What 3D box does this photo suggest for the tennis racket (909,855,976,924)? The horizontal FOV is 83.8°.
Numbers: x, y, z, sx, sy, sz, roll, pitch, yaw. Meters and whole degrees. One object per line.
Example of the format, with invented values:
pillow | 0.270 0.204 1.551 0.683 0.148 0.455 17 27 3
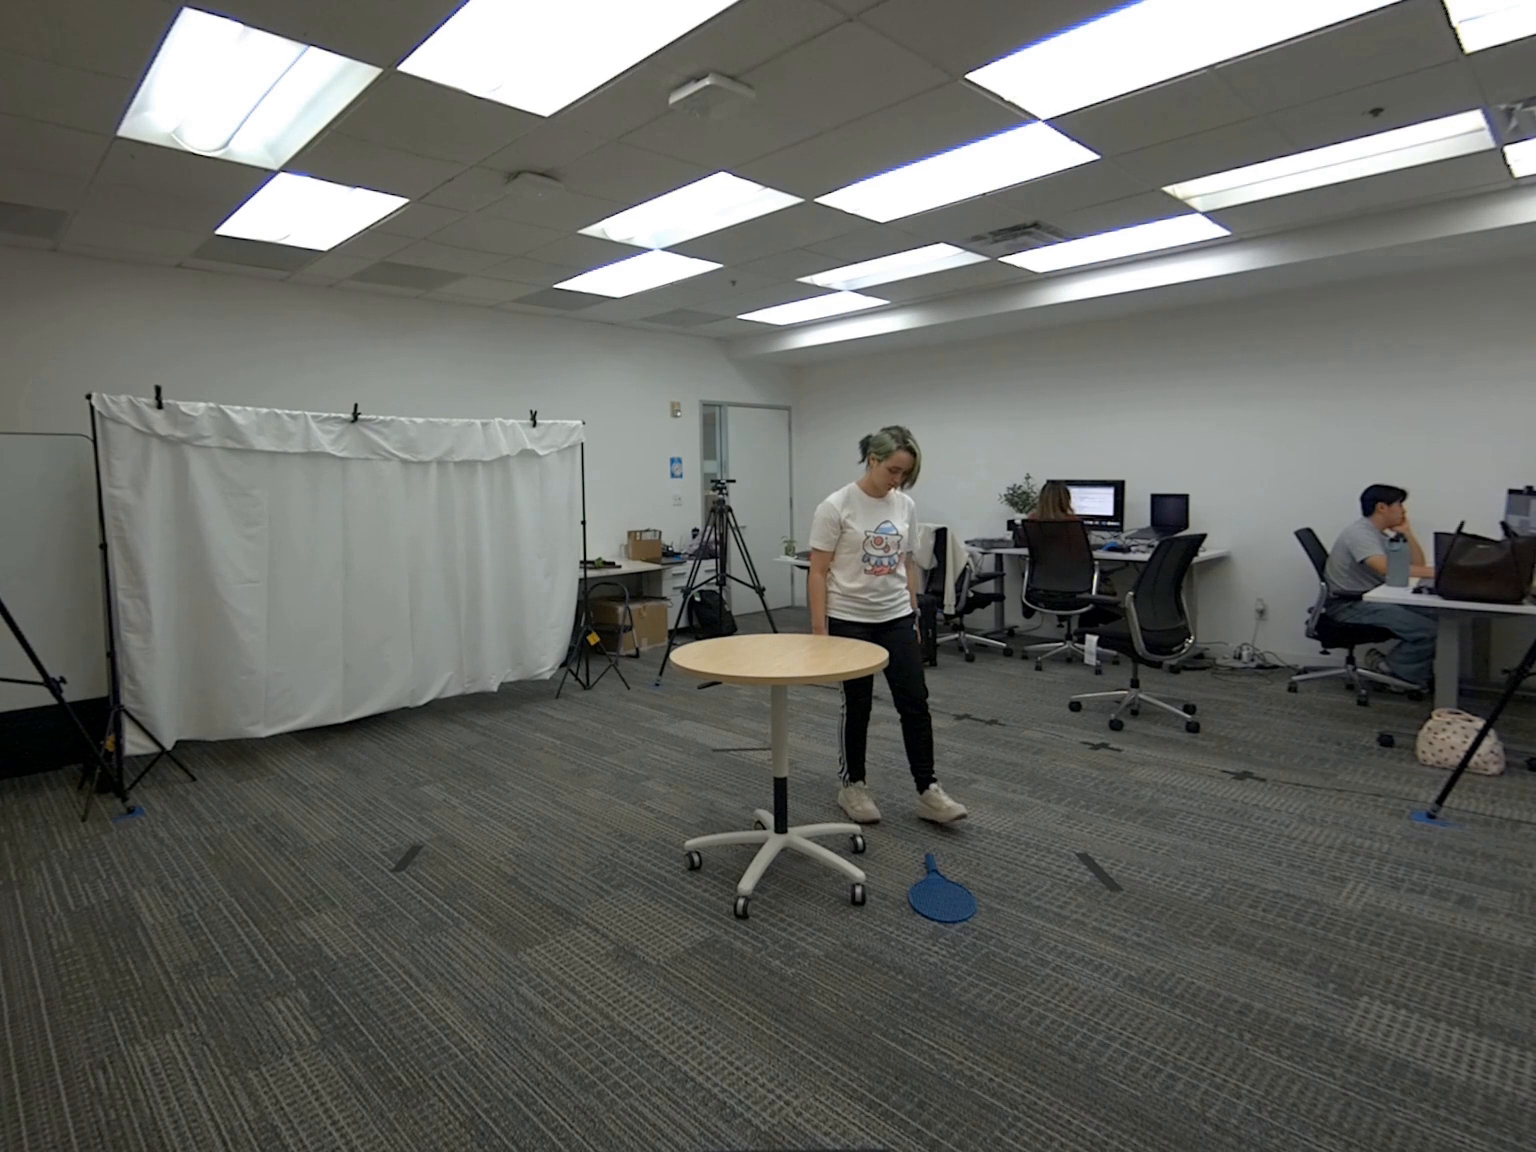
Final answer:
tennis racket | 0.569 1.047 2.884 0.214 0.031 0.434 -1 8 3
